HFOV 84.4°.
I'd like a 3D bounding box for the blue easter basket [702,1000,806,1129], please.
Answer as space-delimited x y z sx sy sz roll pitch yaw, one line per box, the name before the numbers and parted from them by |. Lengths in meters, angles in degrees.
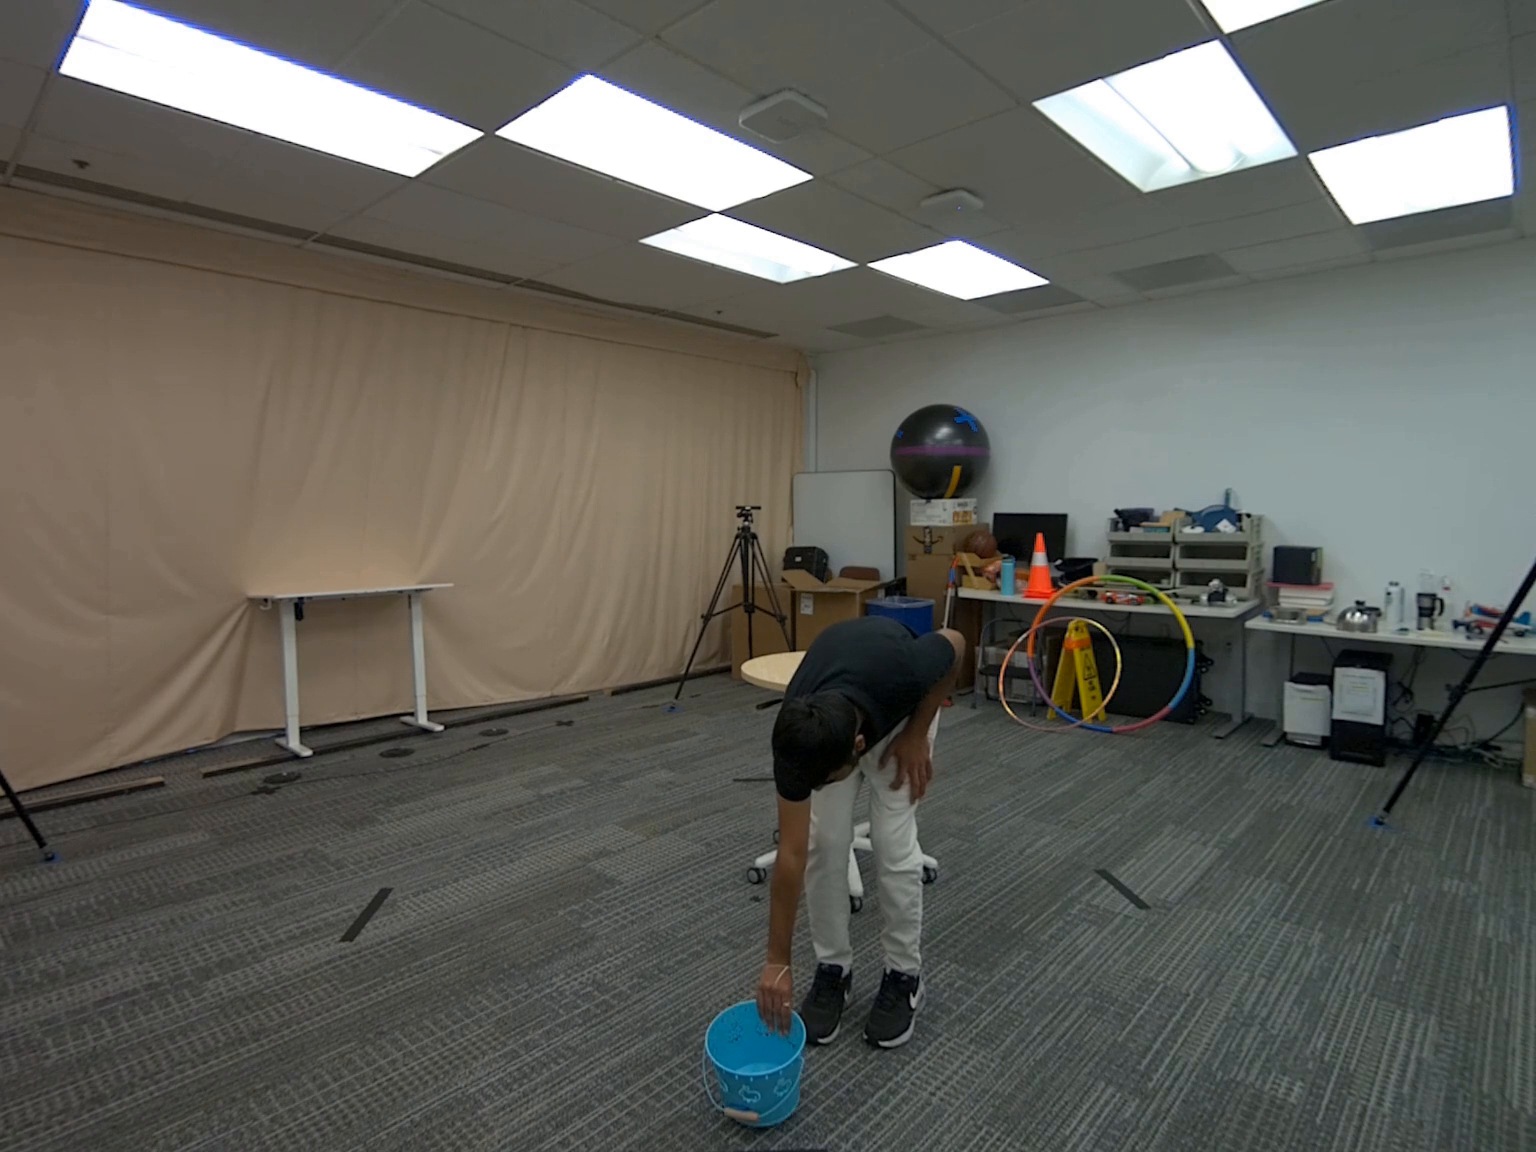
blue easter basket | -0.024 1.129 1.923 0.243 0.155 0.245 -4 9 -1
